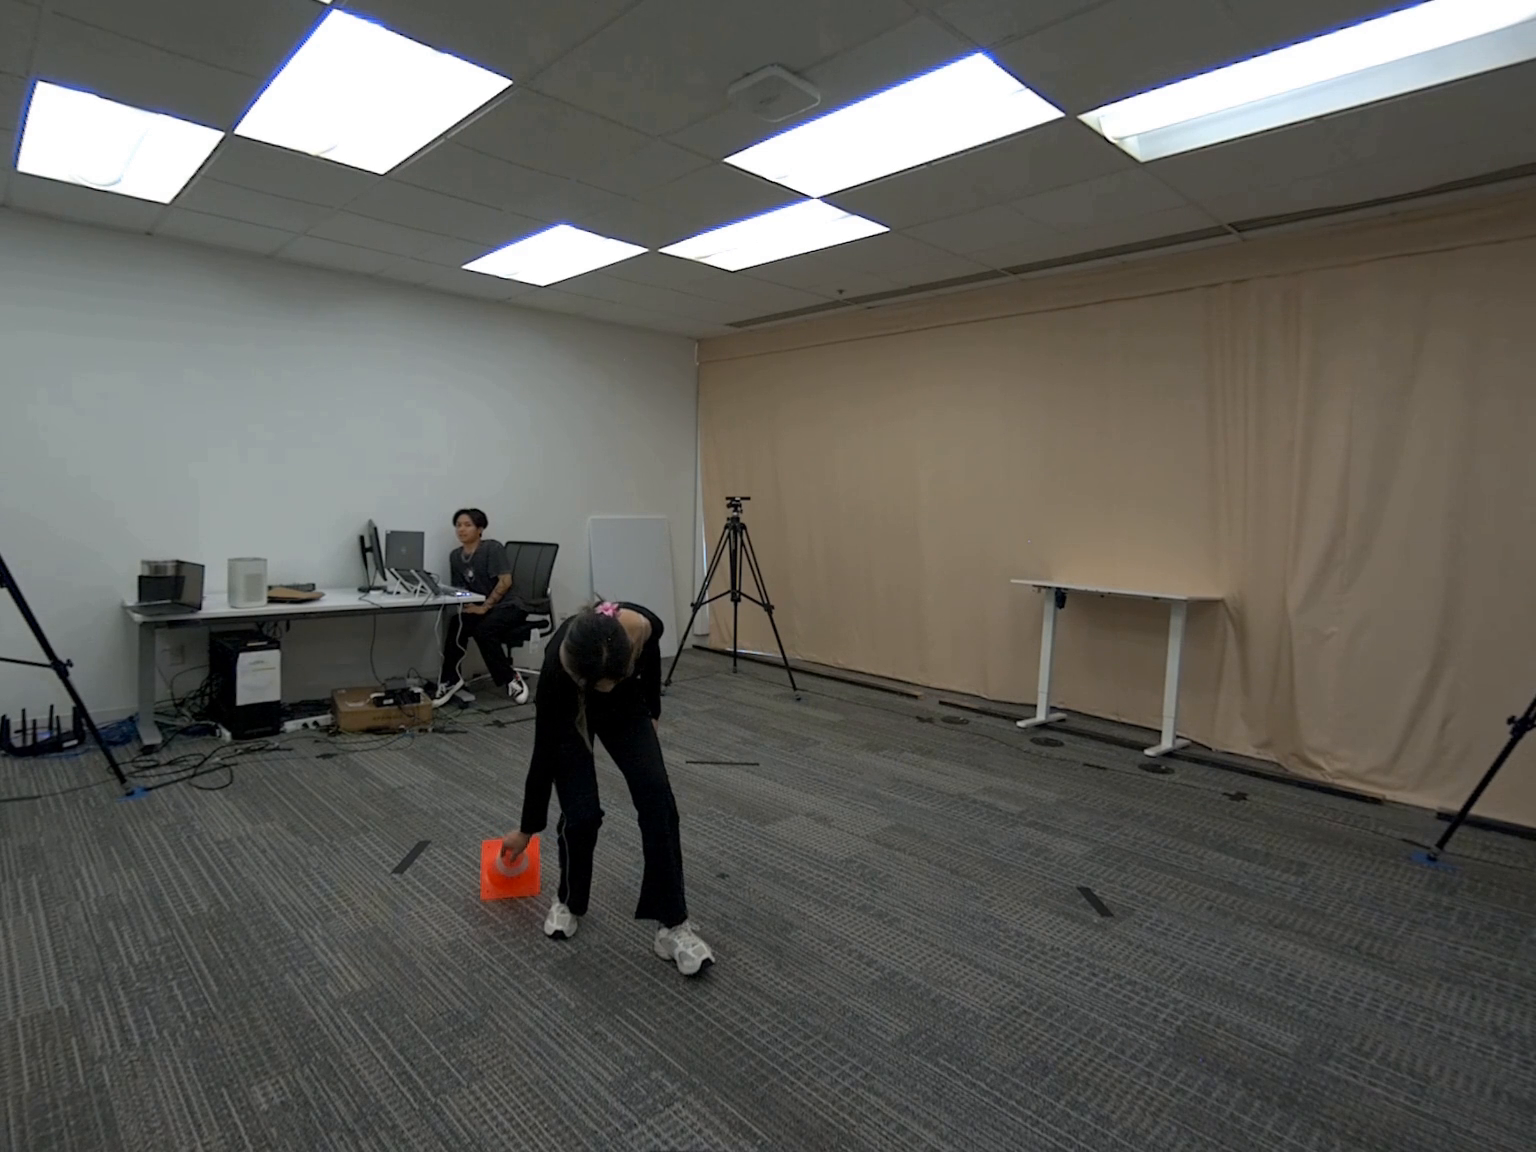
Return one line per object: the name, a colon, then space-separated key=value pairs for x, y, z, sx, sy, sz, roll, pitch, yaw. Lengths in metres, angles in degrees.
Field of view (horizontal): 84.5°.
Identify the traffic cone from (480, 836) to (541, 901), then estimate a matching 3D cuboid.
traffic cone: x=-0.861 y=0.941 z=2.788 sx=0.202 sy=0.207 sz=0.380 roll=-3 pitch=-26 yaw=-16
